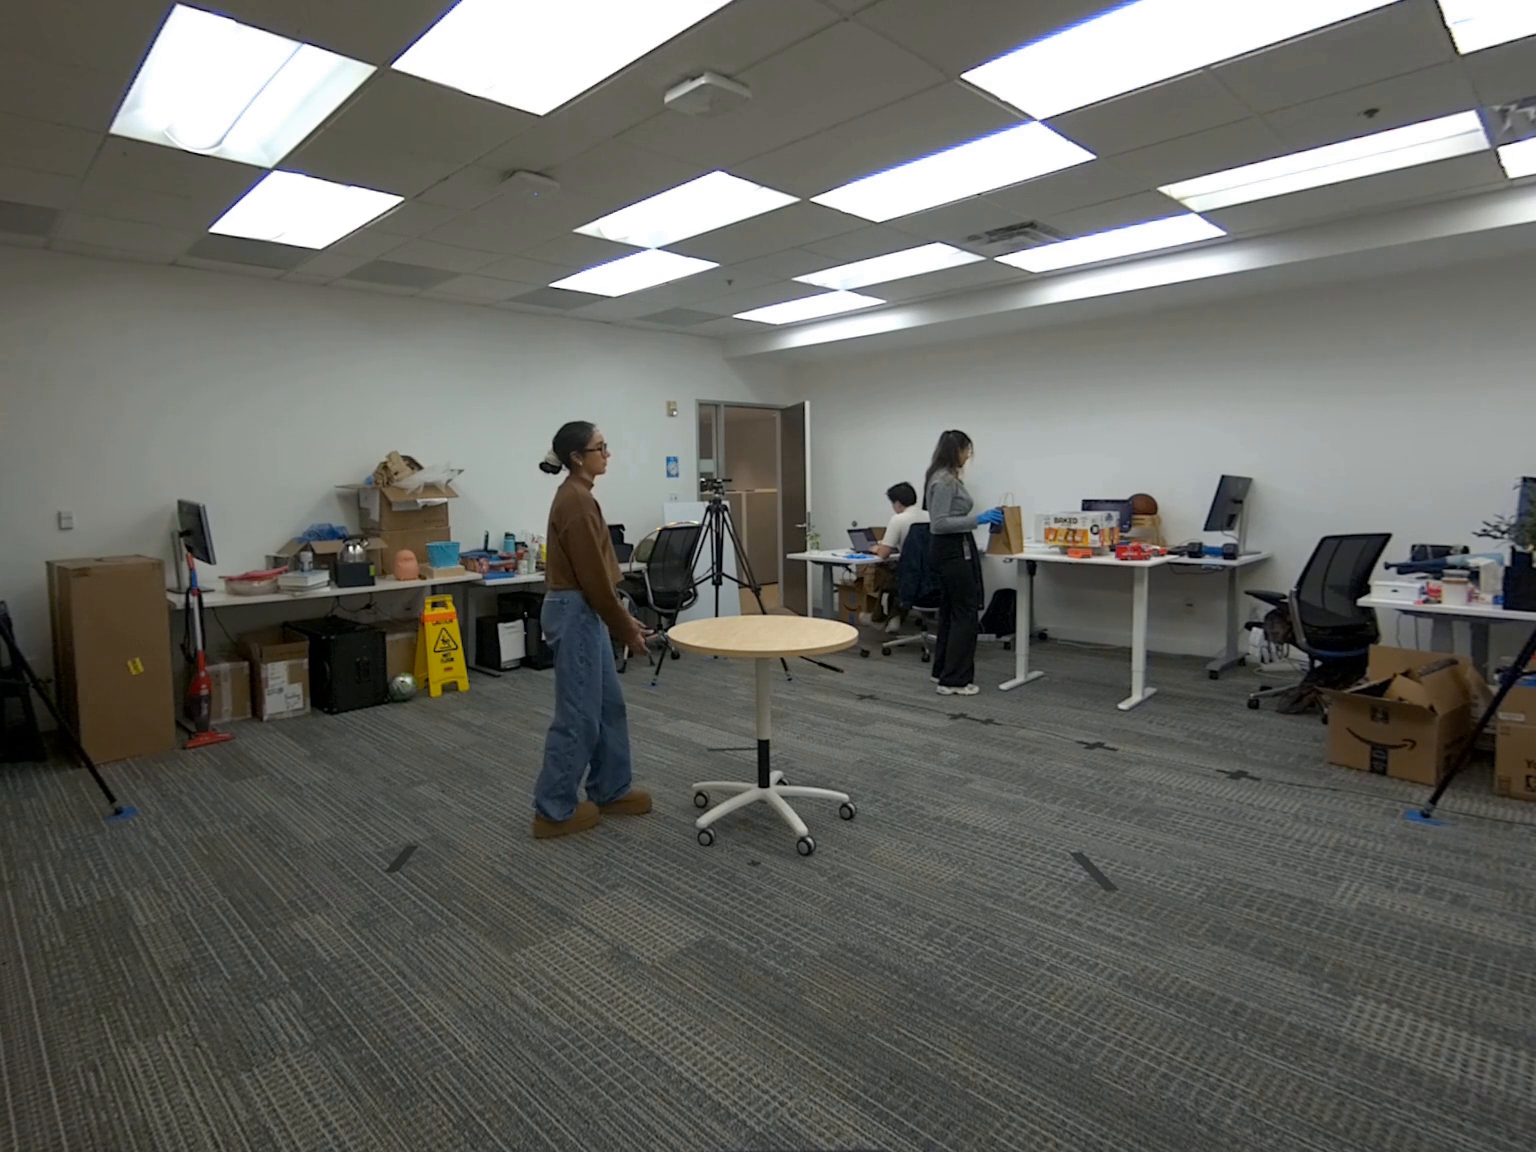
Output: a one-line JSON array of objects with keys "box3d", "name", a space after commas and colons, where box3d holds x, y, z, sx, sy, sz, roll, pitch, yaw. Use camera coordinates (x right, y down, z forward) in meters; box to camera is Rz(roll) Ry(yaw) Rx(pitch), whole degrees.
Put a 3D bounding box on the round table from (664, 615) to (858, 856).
[{"box3d": [-0.017, 0.611, 3.468, 0.763, 0.791, 0.768, -1, 5, -2], "name": "round table"}]
